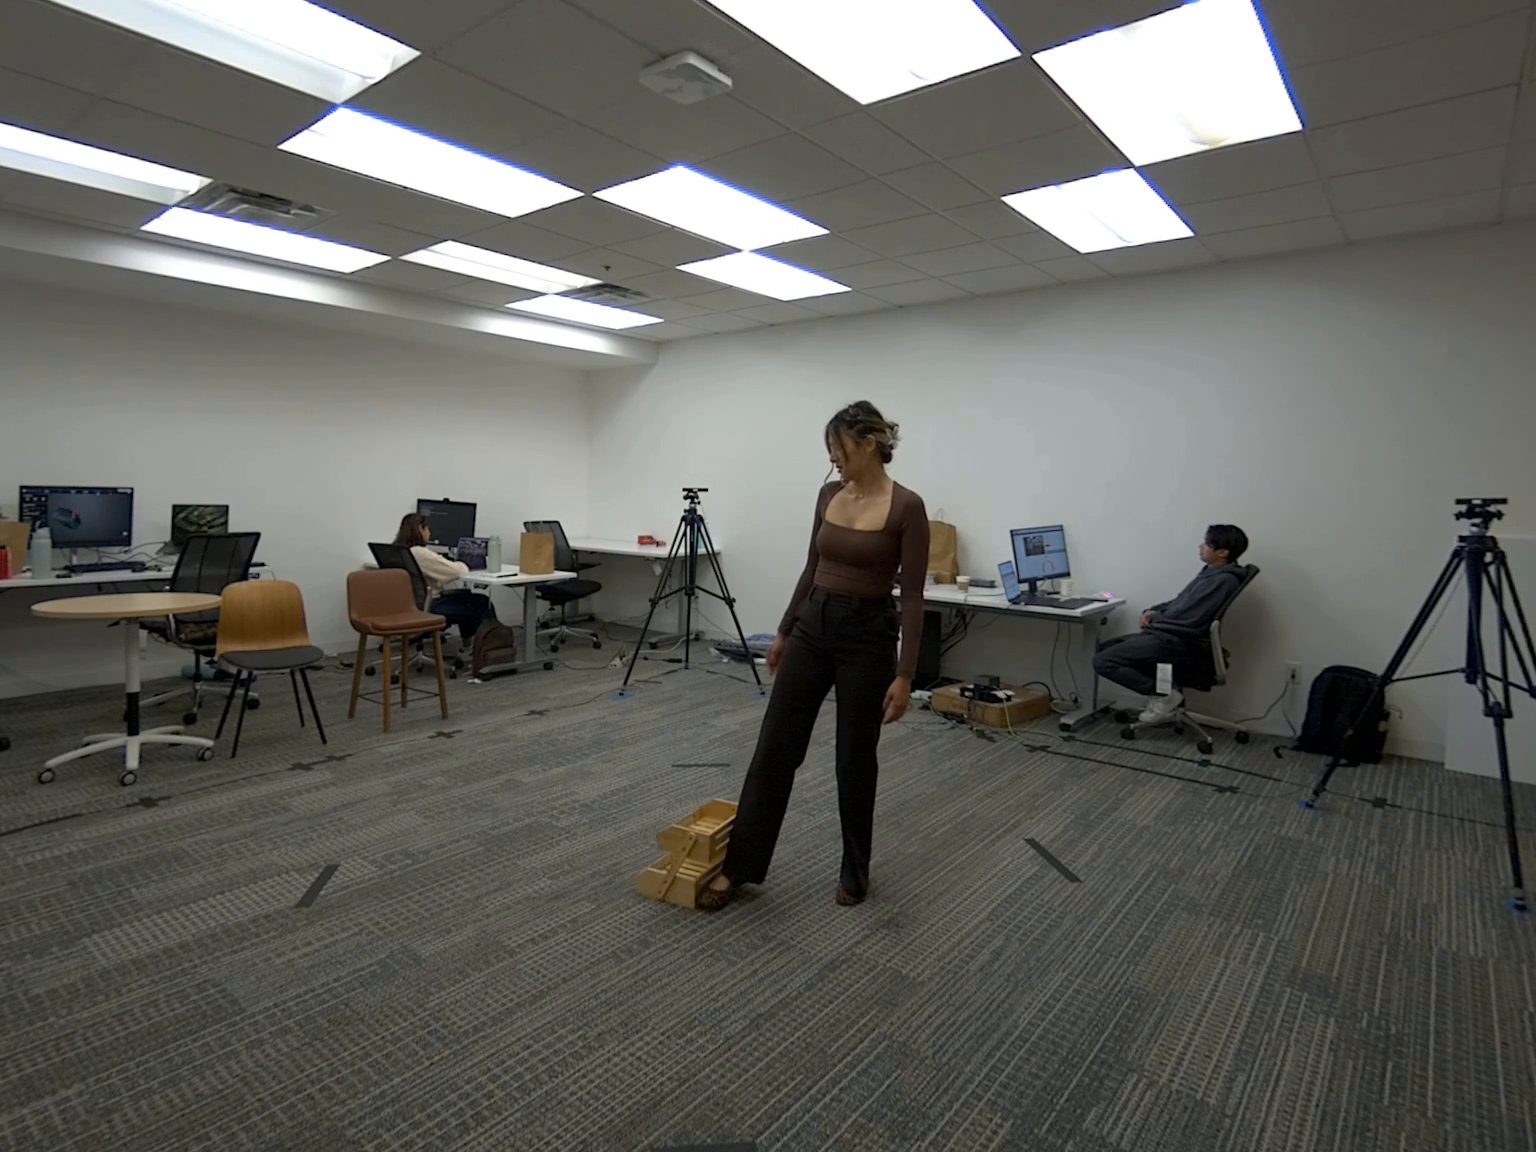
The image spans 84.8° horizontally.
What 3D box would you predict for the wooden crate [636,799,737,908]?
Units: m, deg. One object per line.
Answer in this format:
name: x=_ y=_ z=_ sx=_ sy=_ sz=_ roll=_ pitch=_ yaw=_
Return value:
wooden crate: x=-0.274 y=0.945 z=2.983 sx=0.310 sy=0.272 sz=0.317 roll=4 pitch=5 yaw=27
